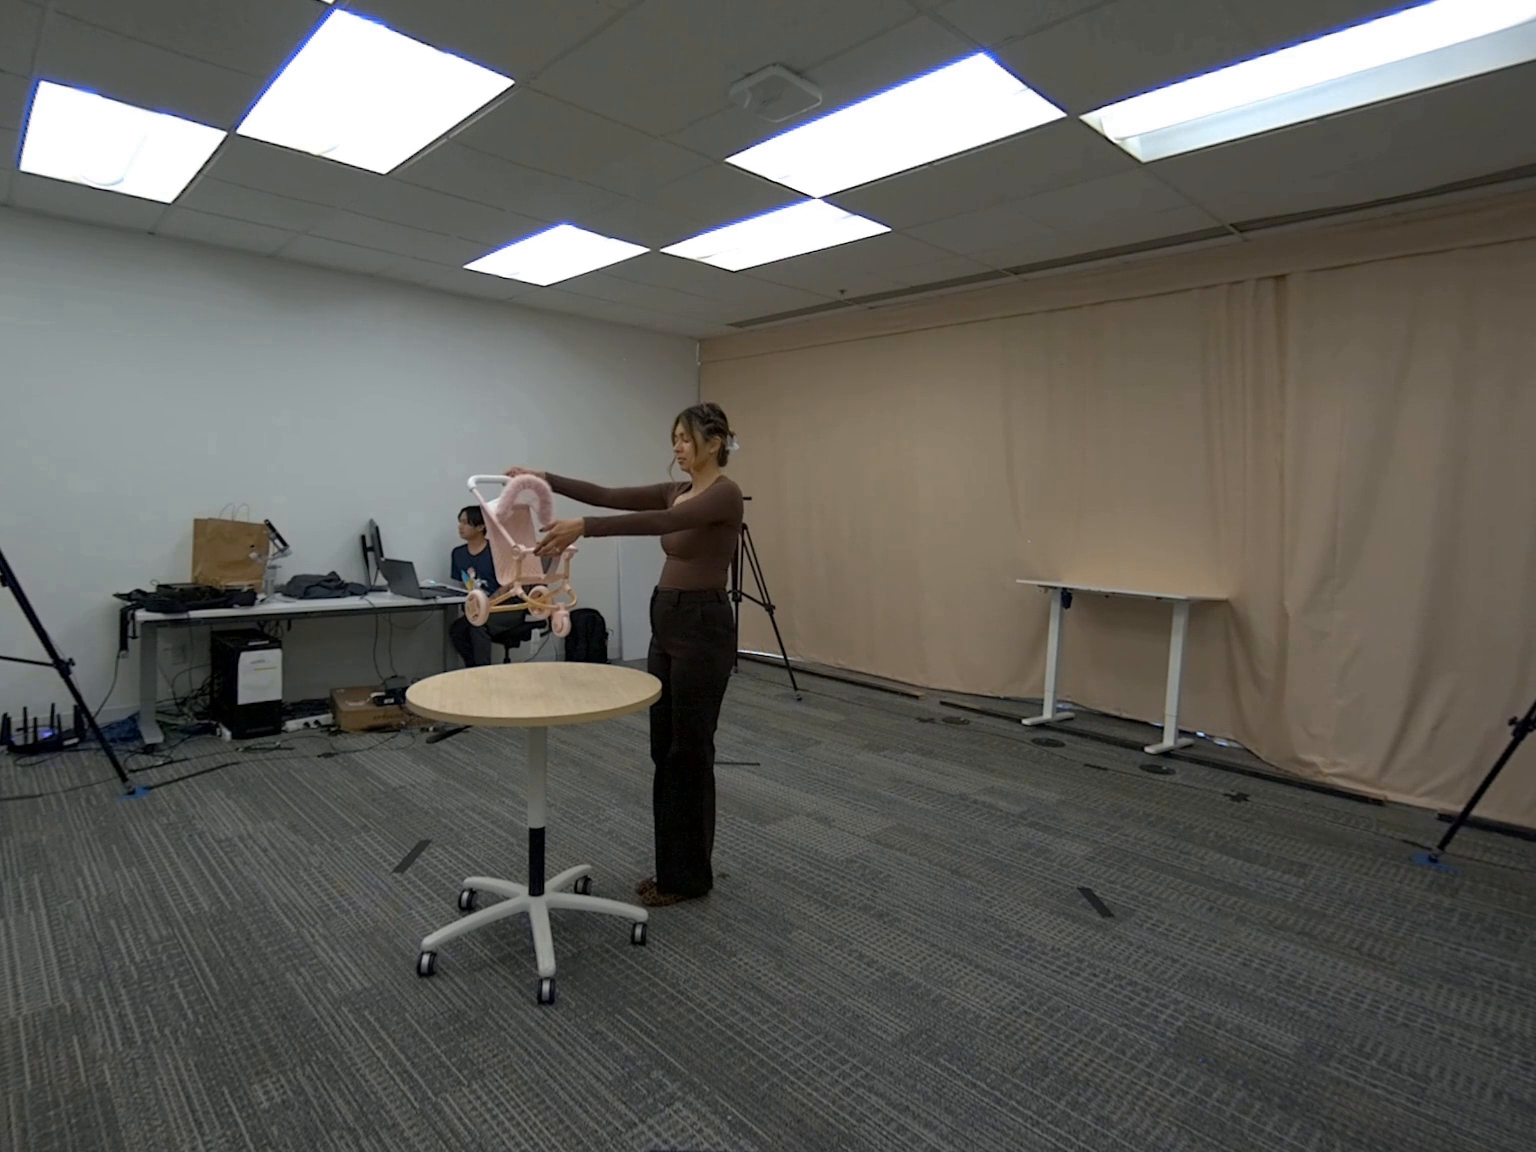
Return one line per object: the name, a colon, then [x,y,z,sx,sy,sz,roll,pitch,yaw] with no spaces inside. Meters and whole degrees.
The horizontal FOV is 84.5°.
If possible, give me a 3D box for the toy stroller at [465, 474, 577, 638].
toy stroller: [-0.754,-0.067,2.609,0.348,0.537,0.275,-9,-5,41]
